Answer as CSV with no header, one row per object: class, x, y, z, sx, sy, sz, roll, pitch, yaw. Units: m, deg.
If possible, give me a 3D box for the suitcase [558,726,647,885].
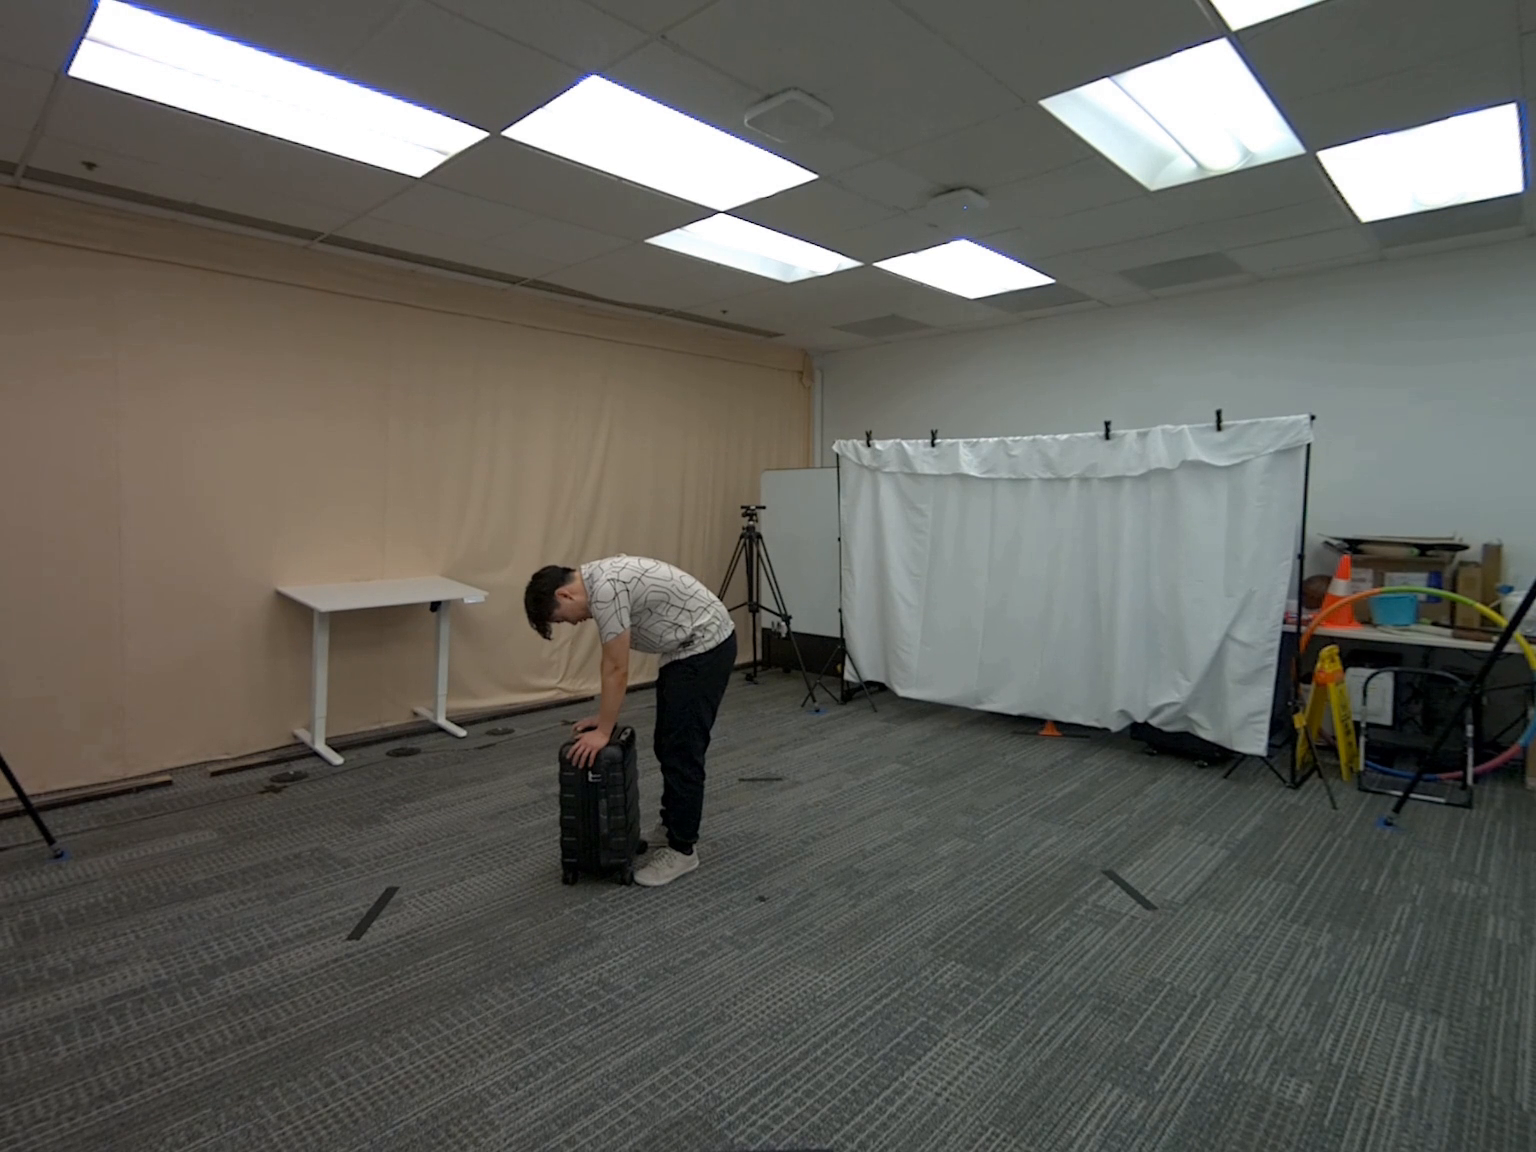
suitcase,-0.644,0.857,3.224,0.249,0.548,0.376,-3,4,1
